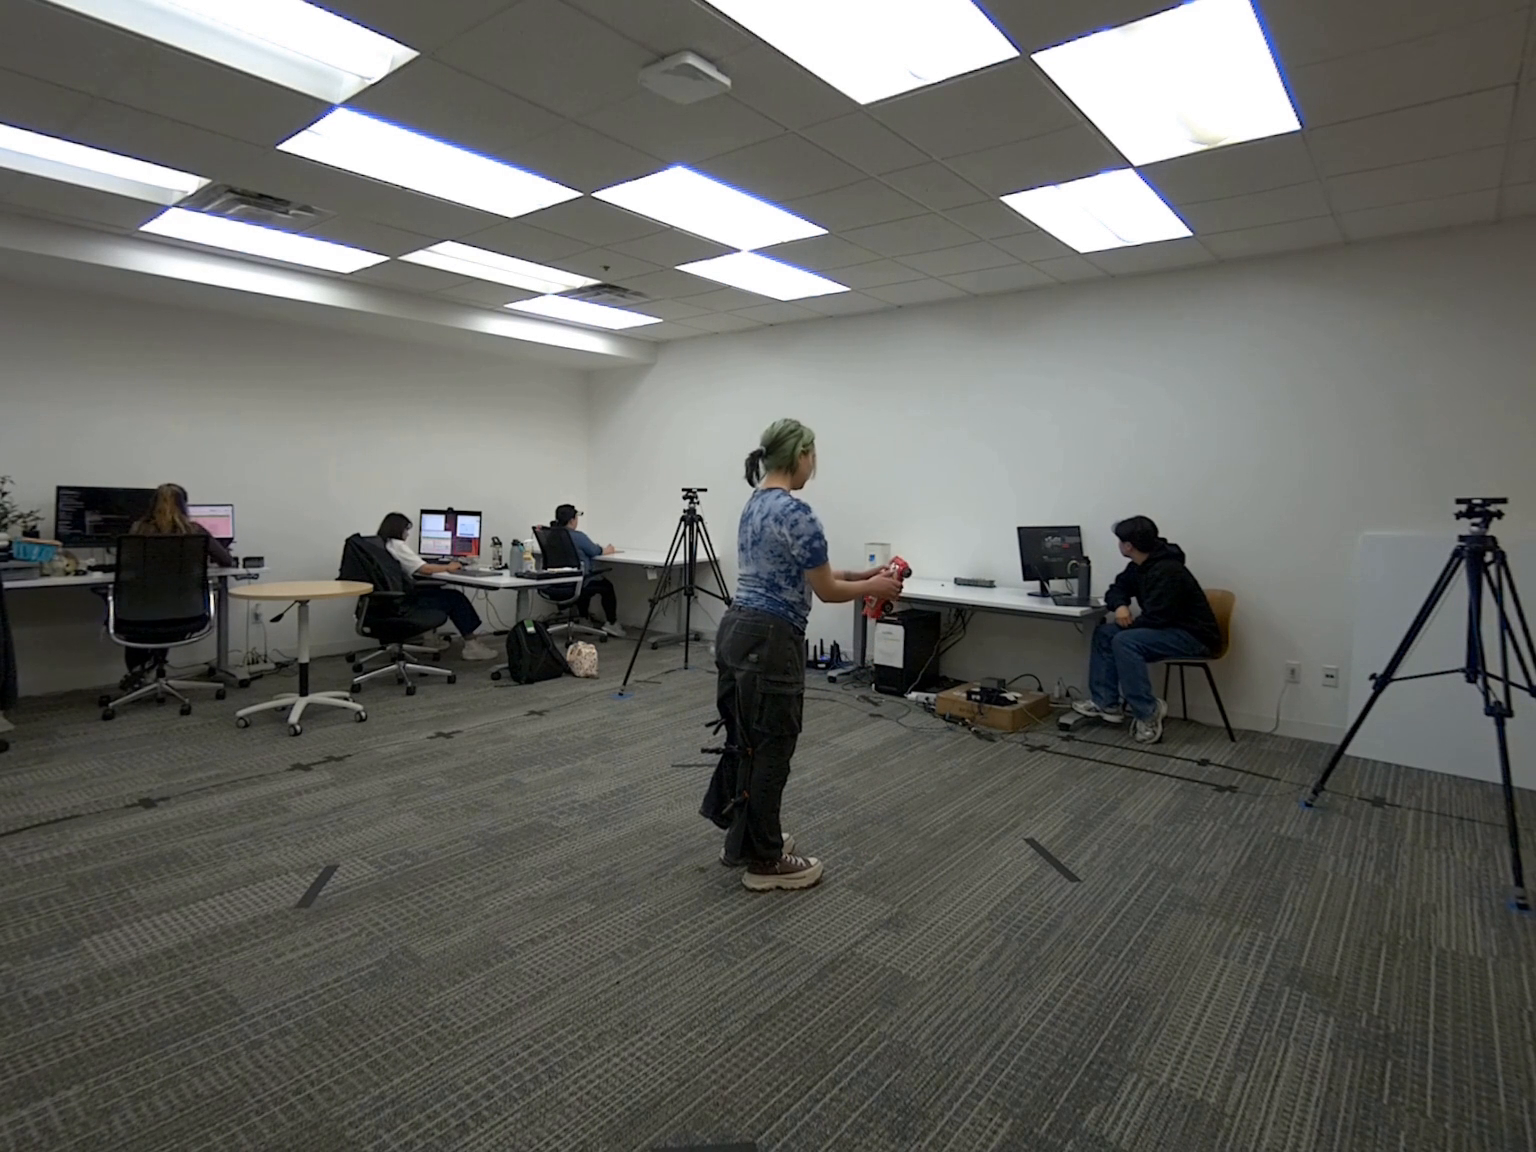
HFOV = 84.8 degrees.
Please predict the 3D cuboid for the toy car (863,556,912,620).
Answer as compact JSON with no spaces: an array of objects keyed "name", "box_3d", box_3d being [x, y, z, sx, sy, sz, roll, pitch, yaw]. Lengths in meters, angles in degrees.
[{"name":"toy car","box_3d":[0.434,0.050,3.156,0.081,0.254,0.134,35,6,-23]}]
